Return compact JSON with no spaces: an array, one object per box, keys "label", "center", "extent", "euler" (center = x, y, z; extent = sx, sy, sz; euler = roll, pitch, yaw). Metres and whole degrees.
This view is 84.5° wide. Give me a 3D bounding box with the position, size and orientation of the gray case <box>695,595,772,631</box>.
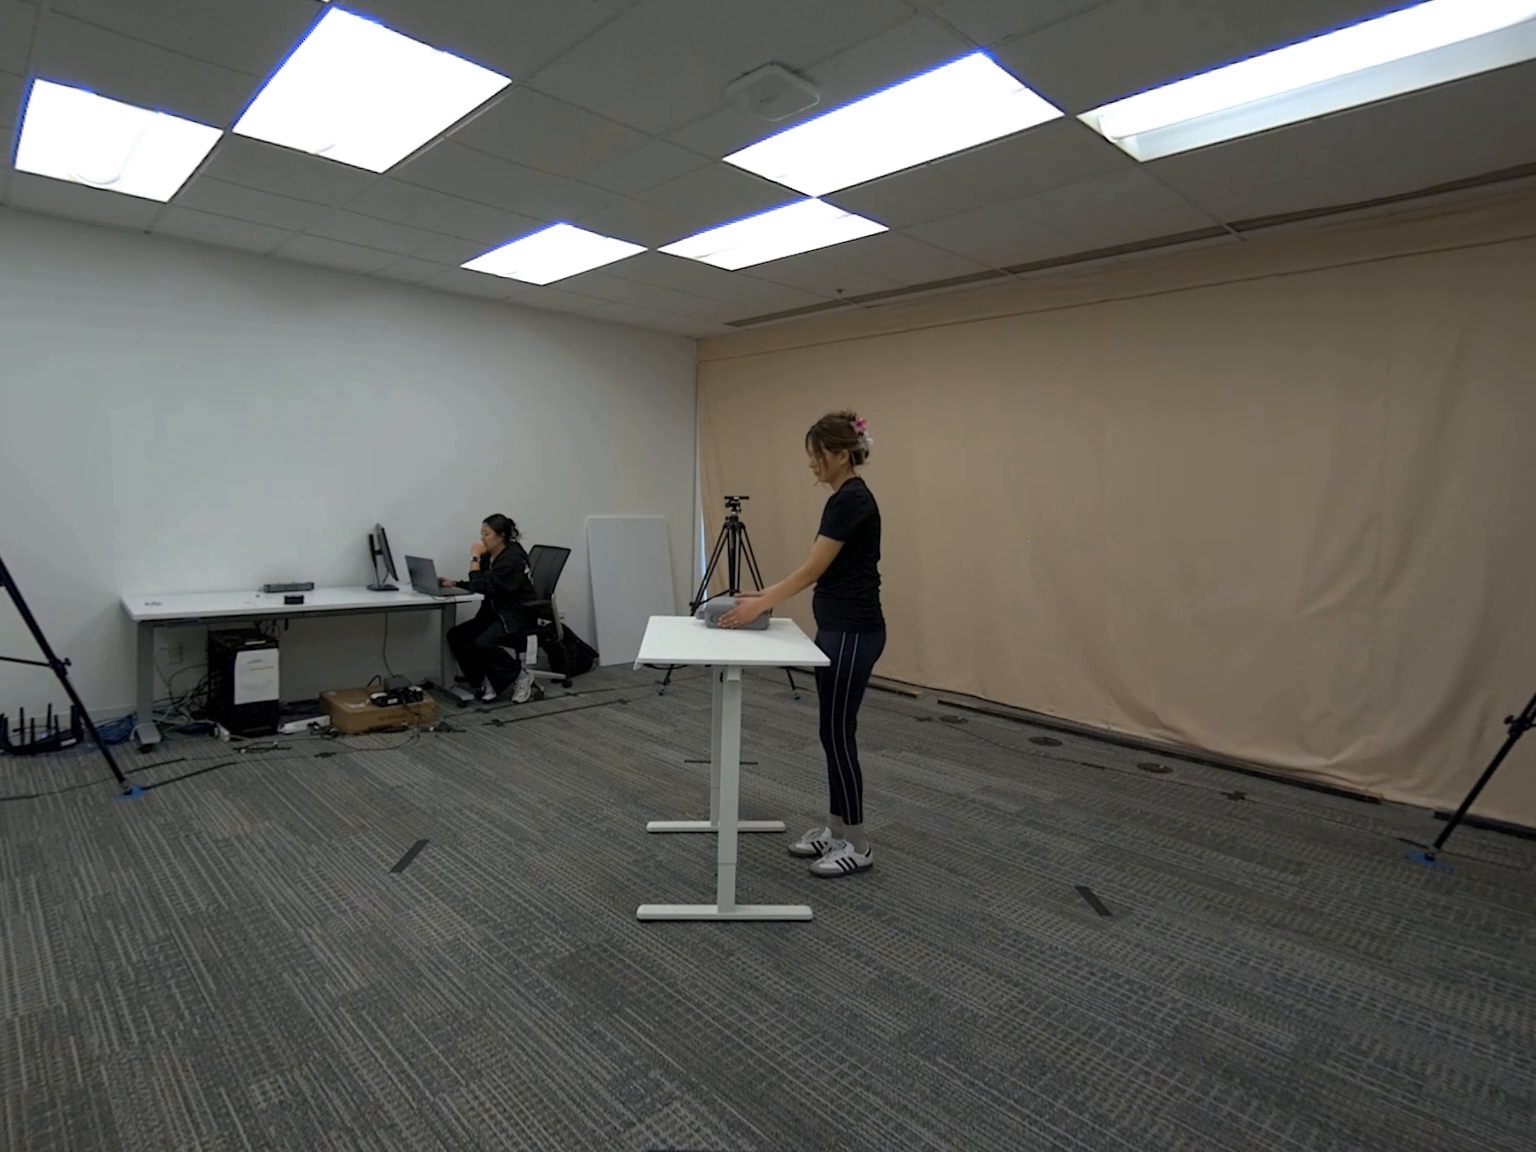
[{"label":"gray case","center":[-0.126,0.149,3.375],"extent":[0.262,0.104,0.256],"euler":[1,5,5]}]
